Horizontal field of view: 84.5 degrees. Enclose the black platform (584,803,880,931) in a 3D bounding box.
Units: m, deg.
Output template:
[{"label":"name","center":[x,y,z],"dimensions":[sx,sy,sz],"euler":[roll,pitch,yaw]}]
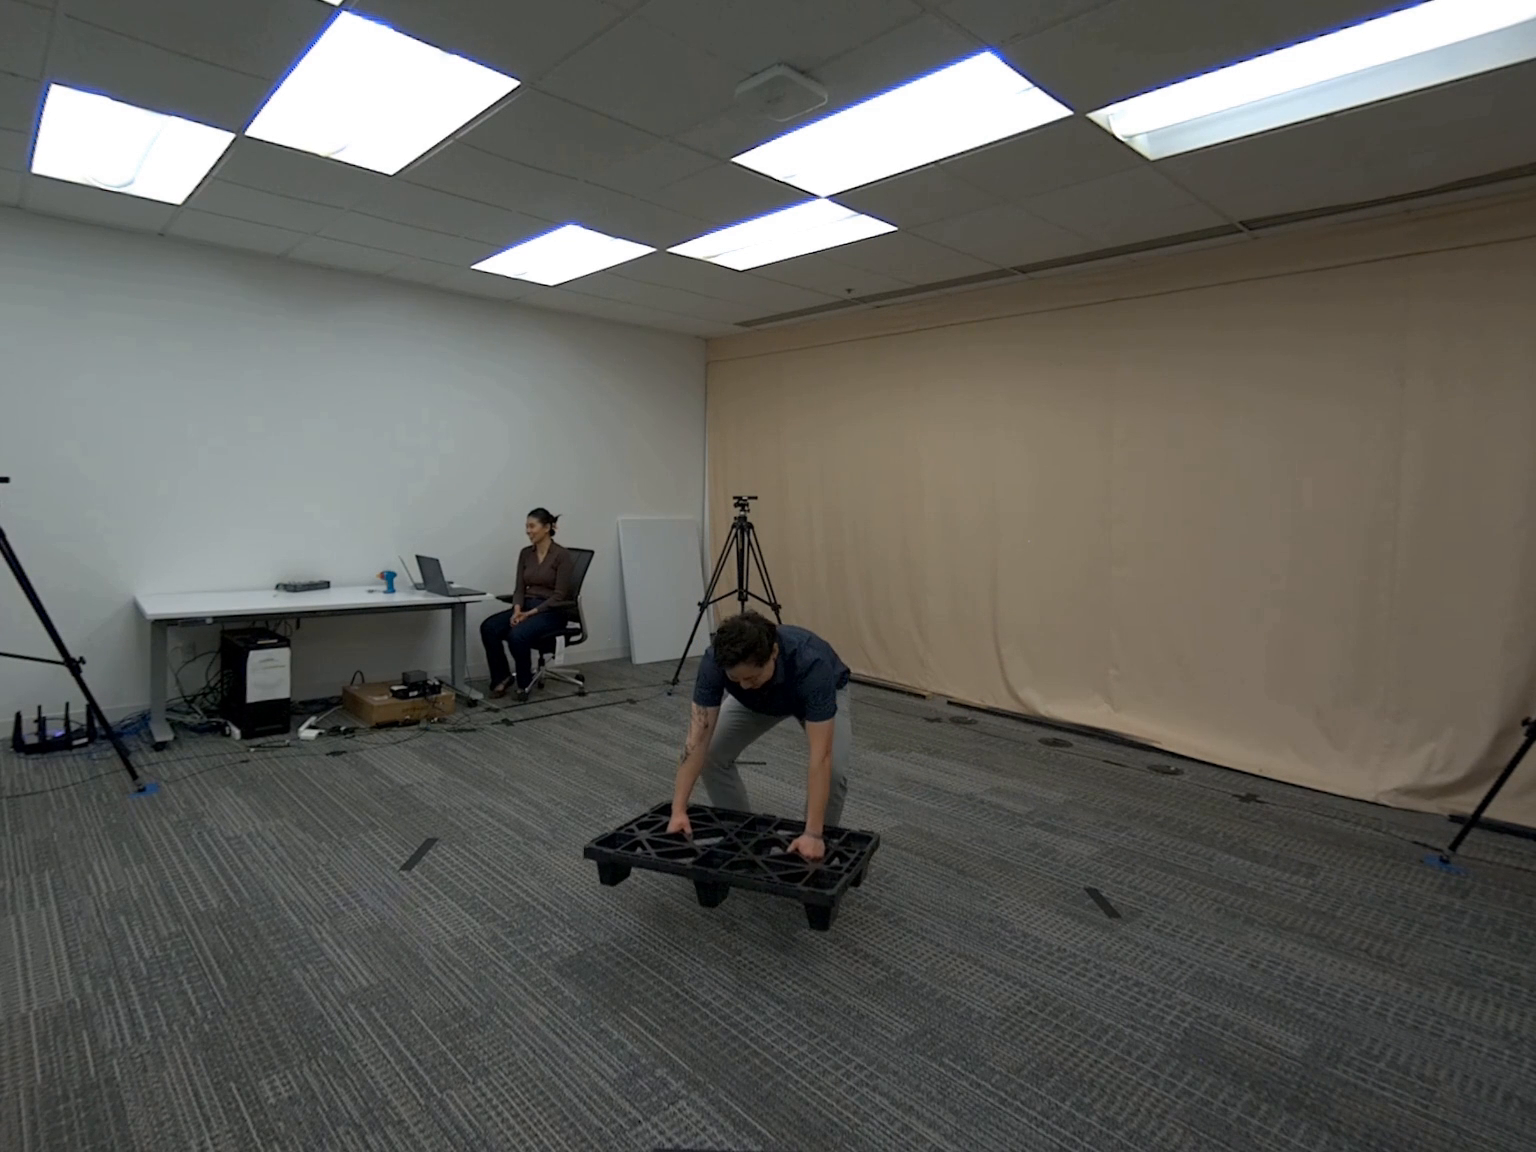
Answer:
[{"label":"black platform","center":[-0.106,0.908,2.695],"dimensions":[0.819,0.143,0.595],"euler":[3,1,21]}]
